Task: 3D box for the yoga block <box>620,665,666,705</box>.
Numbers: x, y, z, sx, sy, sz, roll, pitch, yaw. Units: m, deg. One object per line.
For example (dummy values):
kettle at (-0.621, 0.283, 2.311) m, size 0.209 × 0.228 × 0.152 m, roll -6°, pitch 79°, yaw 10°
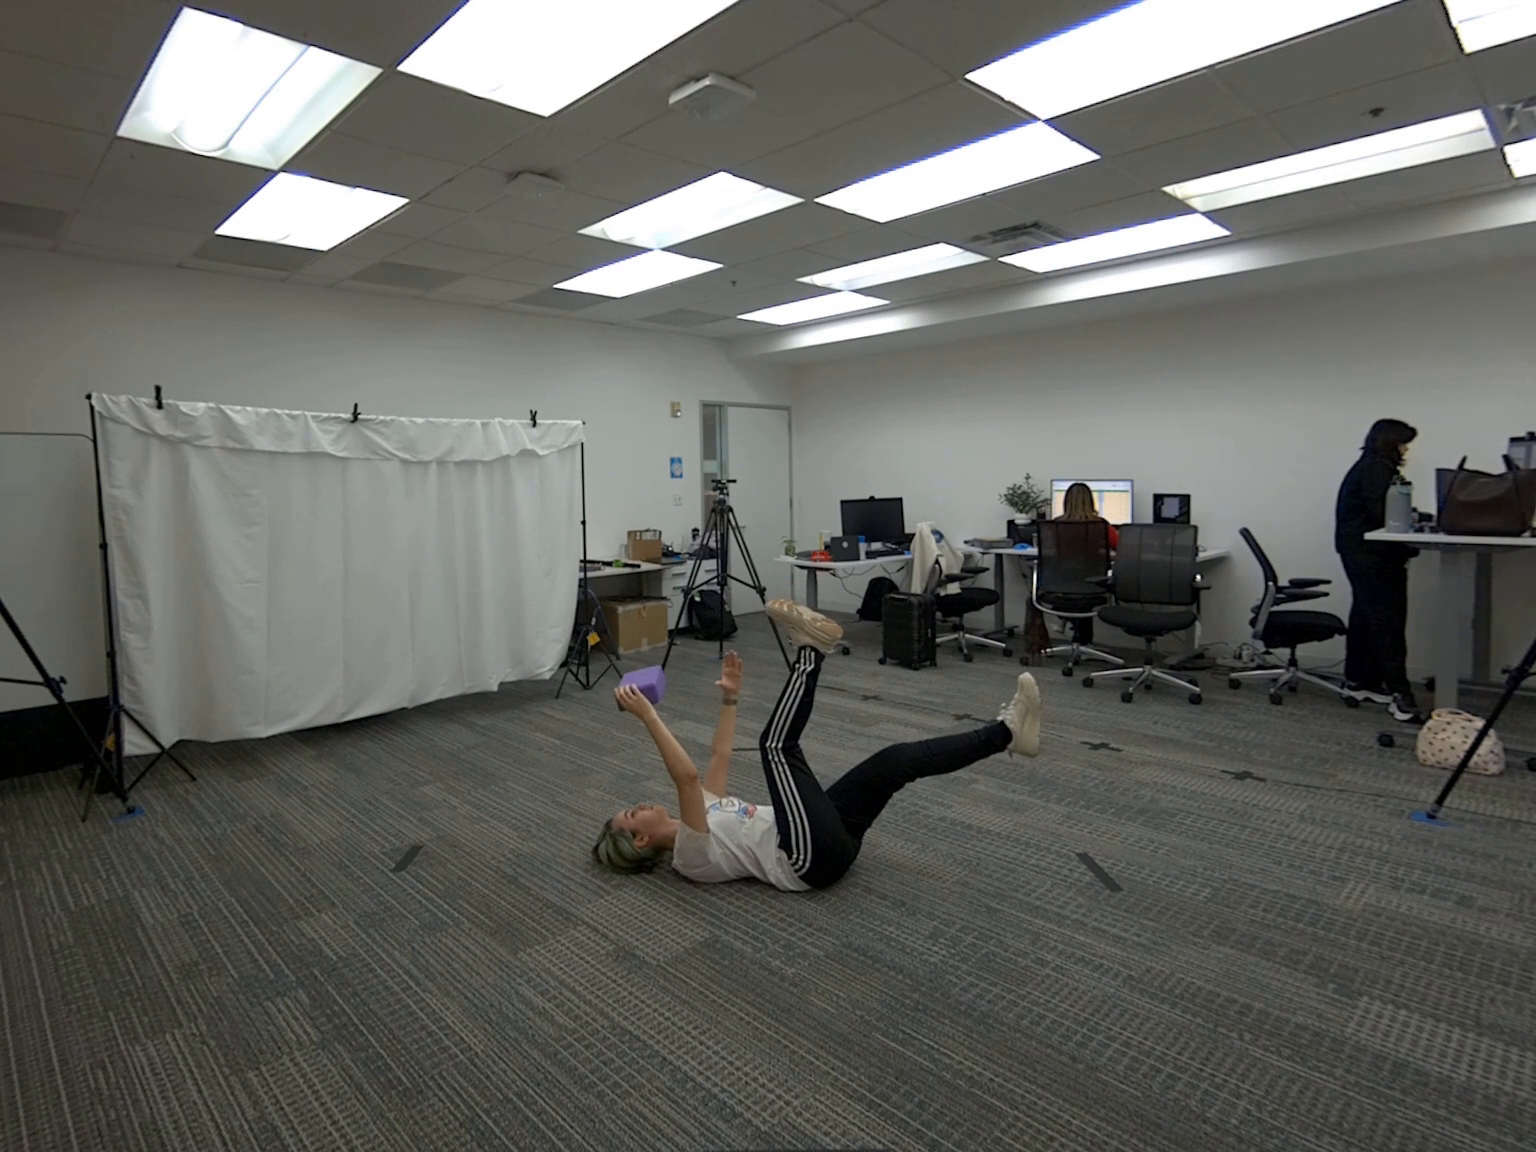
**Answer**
yoga block at (-0.455, 0.401, 3.061) m, size 0.149 × 0.076 × 0.231 m, roll -12°, pitch 9°, yaw 1°
